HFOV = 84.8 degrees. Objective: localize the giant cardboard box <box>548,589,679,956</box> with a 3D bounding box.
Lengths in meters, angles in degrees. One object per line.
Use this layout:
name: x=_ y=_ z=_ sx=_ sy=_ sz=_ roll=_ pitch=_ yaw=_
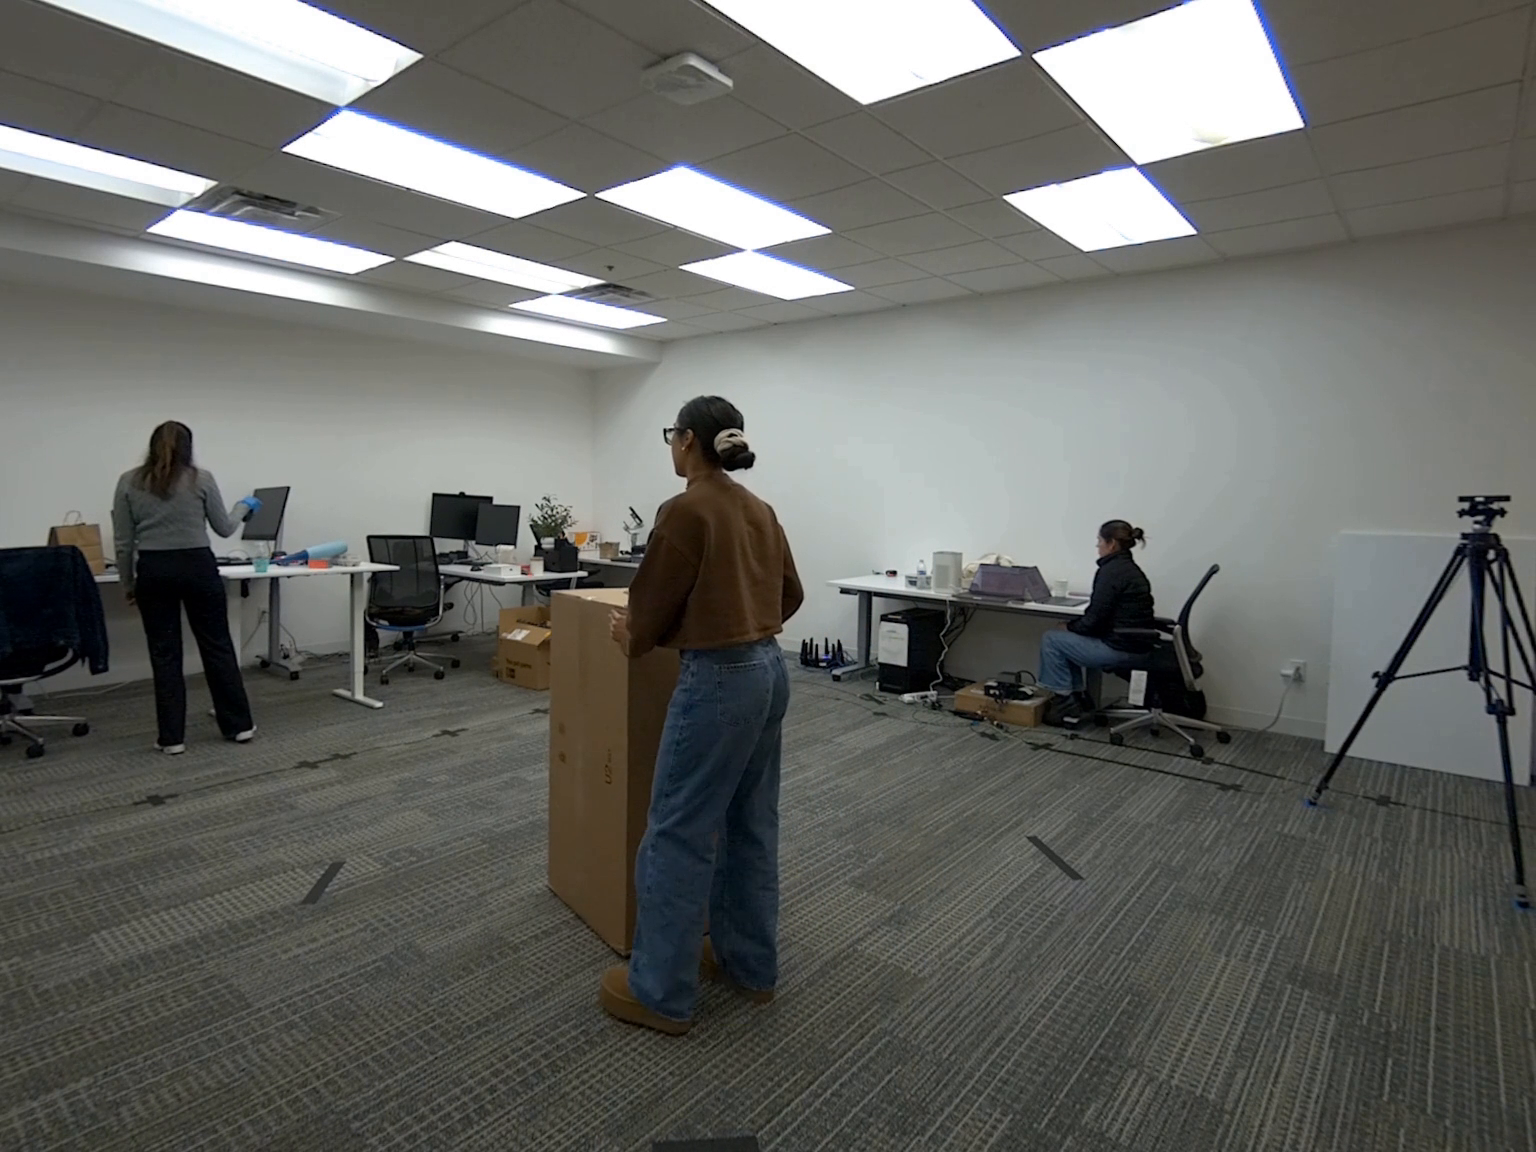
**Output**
giant cardboard box: x=-0.429 y=0.578 z=2.824 sx=0.413 sy=1.024 sz=0.596 roll=0 pitch=2 yaw=-36
